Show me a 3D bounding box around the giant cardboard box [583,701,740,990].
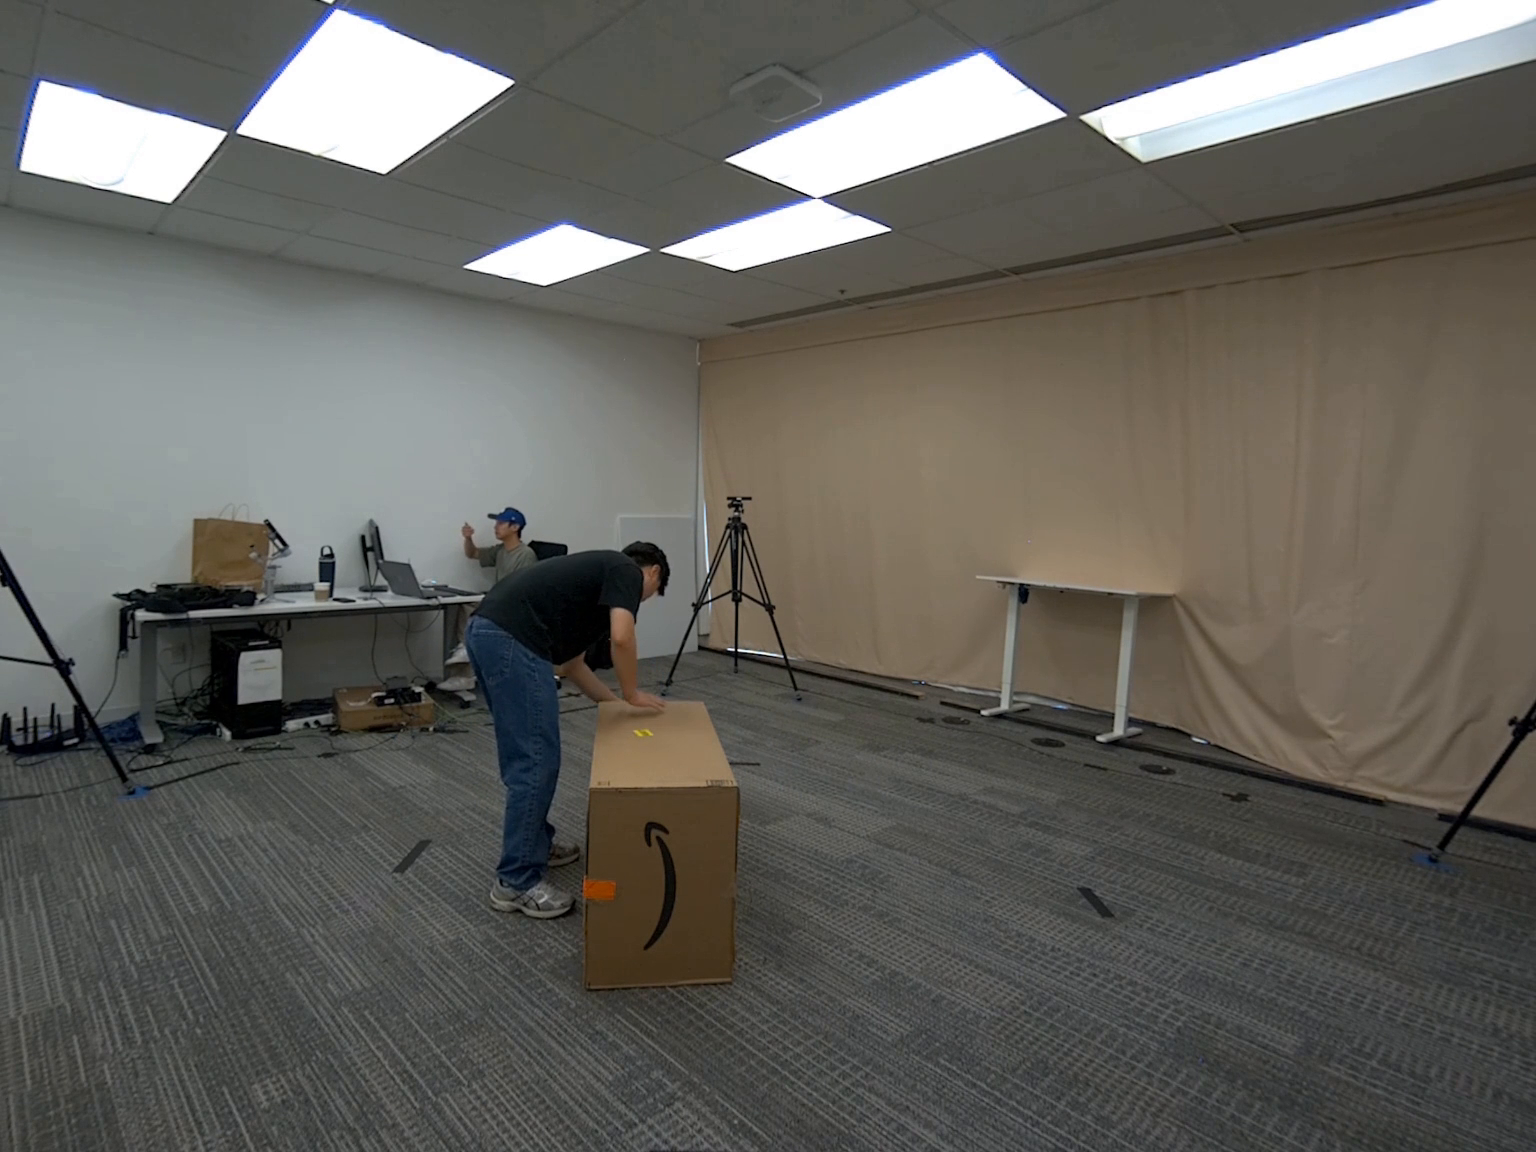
[{"bbox_3d":[-0.391,0.834,2.877,0.443,0.582,1.037,0,4,-10],"label":"giant cardboard box"}]
